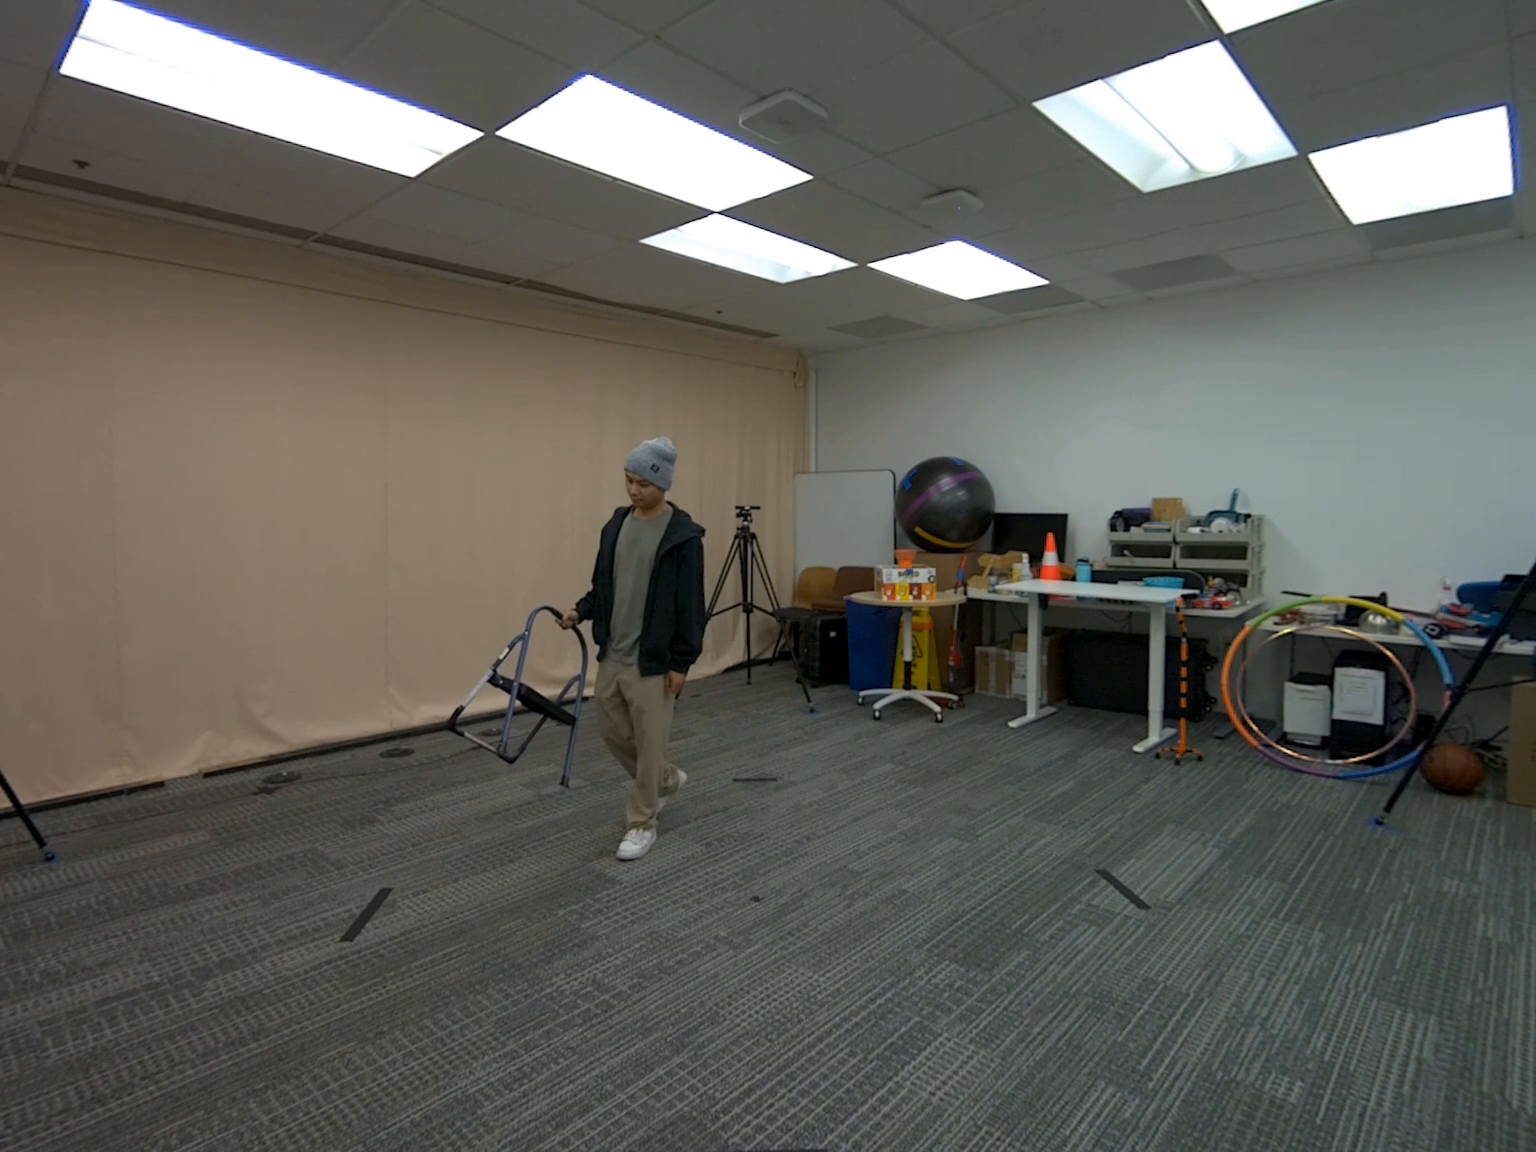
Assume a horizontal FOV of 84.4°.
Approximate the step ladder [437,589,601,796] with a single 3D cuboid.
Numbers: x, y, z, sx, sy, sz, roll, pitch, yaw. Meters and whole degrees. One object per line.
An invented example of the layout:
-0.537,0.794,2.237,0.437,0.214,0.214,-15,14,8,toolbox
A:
-0.883,0.449,3.320,0.361,0.607,0.416,11,-25,34,step ladder
